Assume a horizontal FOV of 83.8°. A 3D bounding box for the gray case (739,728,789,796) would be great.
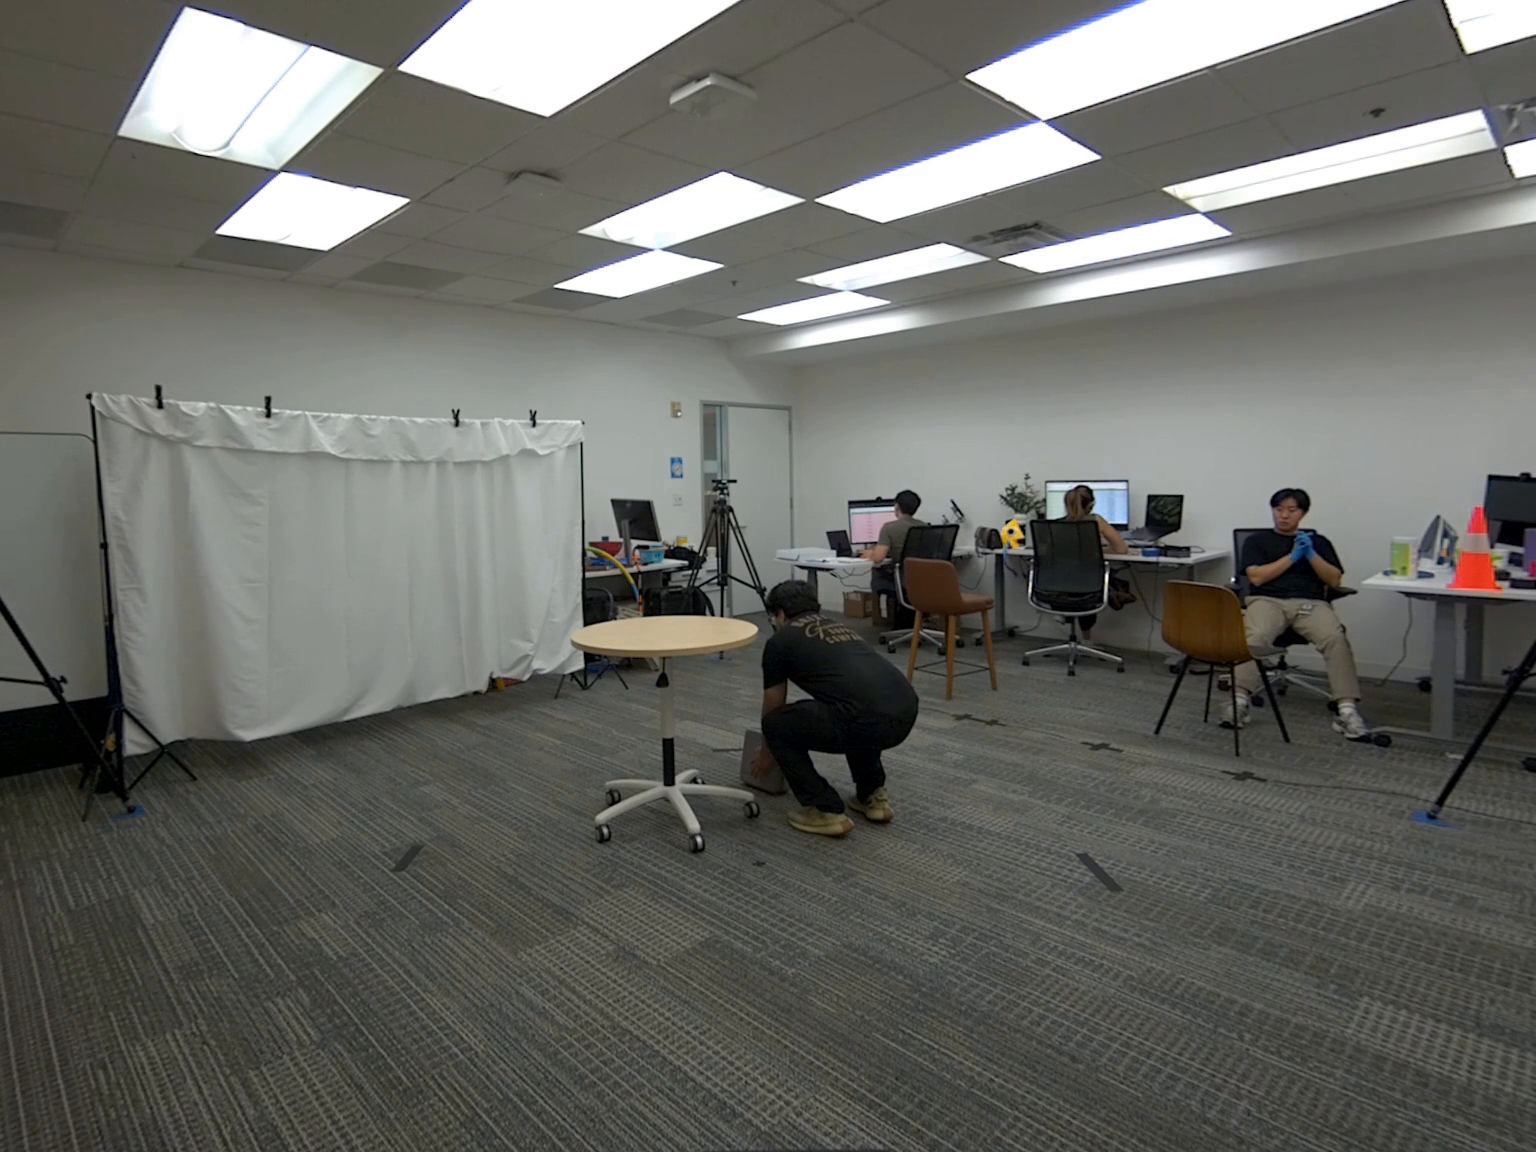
[{"bbox_3d":[-0.003,0.829,3.896,0.101,0.261,0.265,9,-3,-41],"label":"gray case"}]
